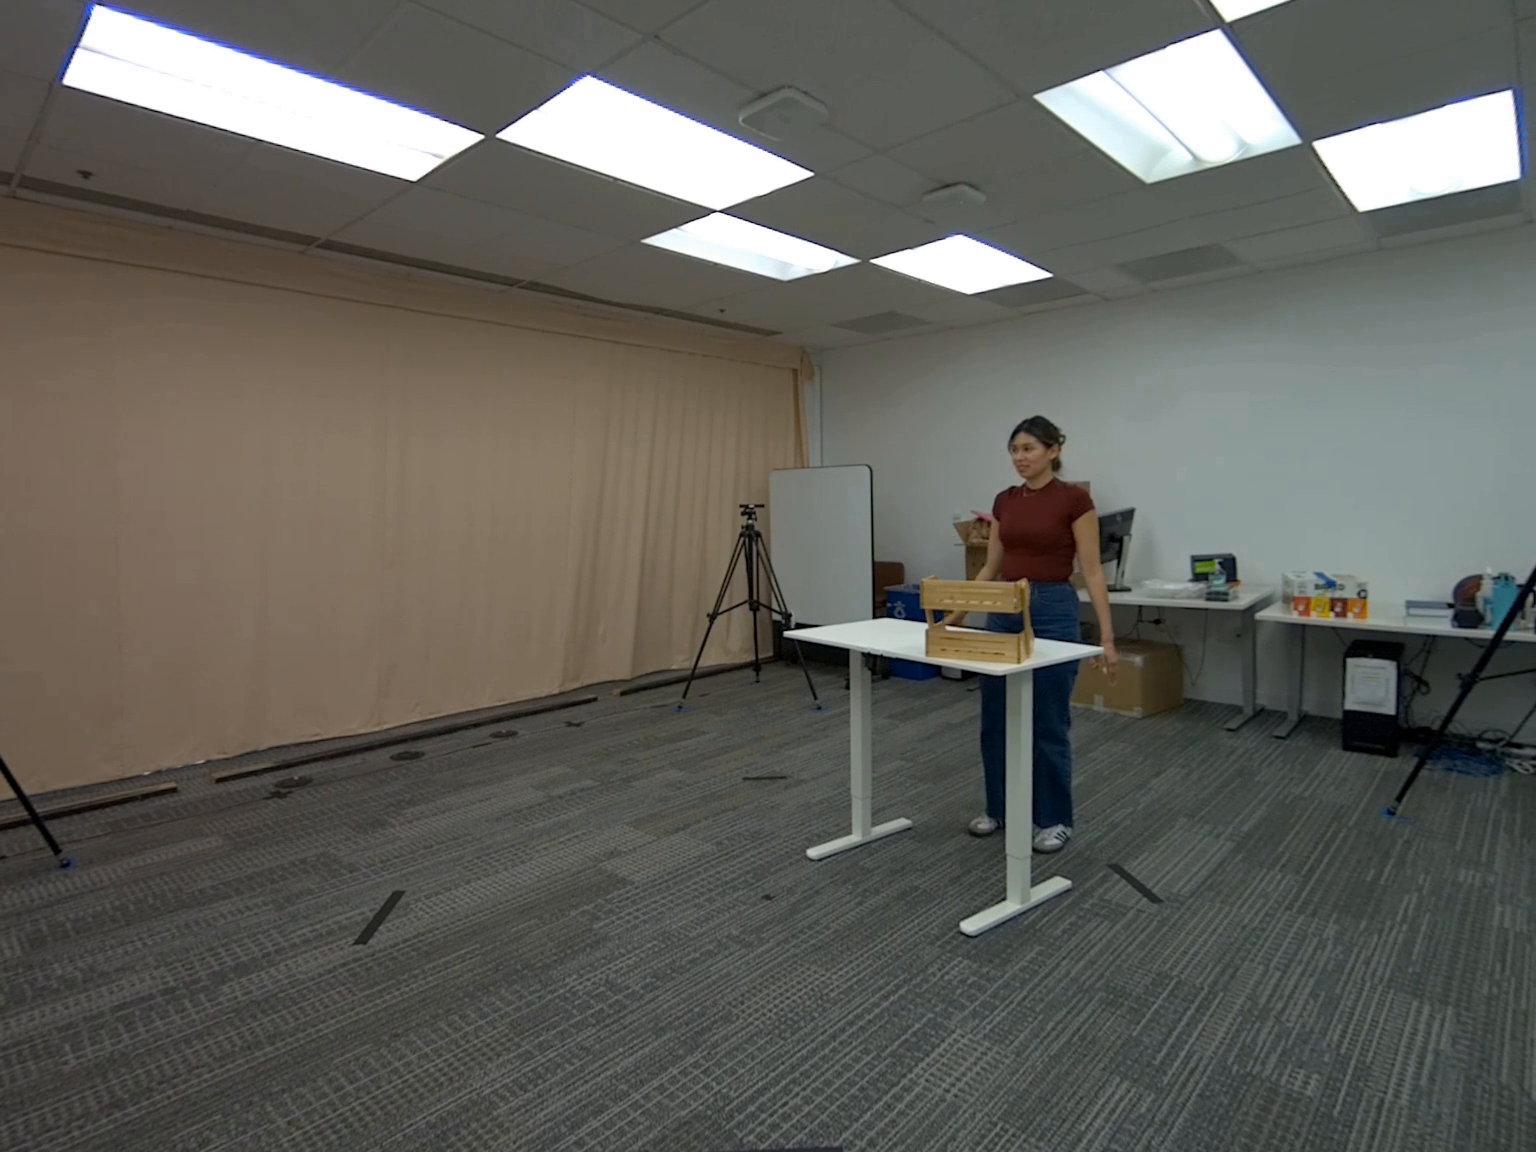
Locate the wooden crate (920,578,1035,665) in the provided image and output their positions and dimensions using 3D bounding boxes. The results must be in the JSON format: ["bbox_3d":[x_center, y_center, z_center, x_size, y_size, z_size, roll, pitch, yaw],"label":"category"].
[{"bbox_3d":[0.710,0.134,2.777,0.333,0.272,0.294,2,5,28],"label":"wooden crate"}]
